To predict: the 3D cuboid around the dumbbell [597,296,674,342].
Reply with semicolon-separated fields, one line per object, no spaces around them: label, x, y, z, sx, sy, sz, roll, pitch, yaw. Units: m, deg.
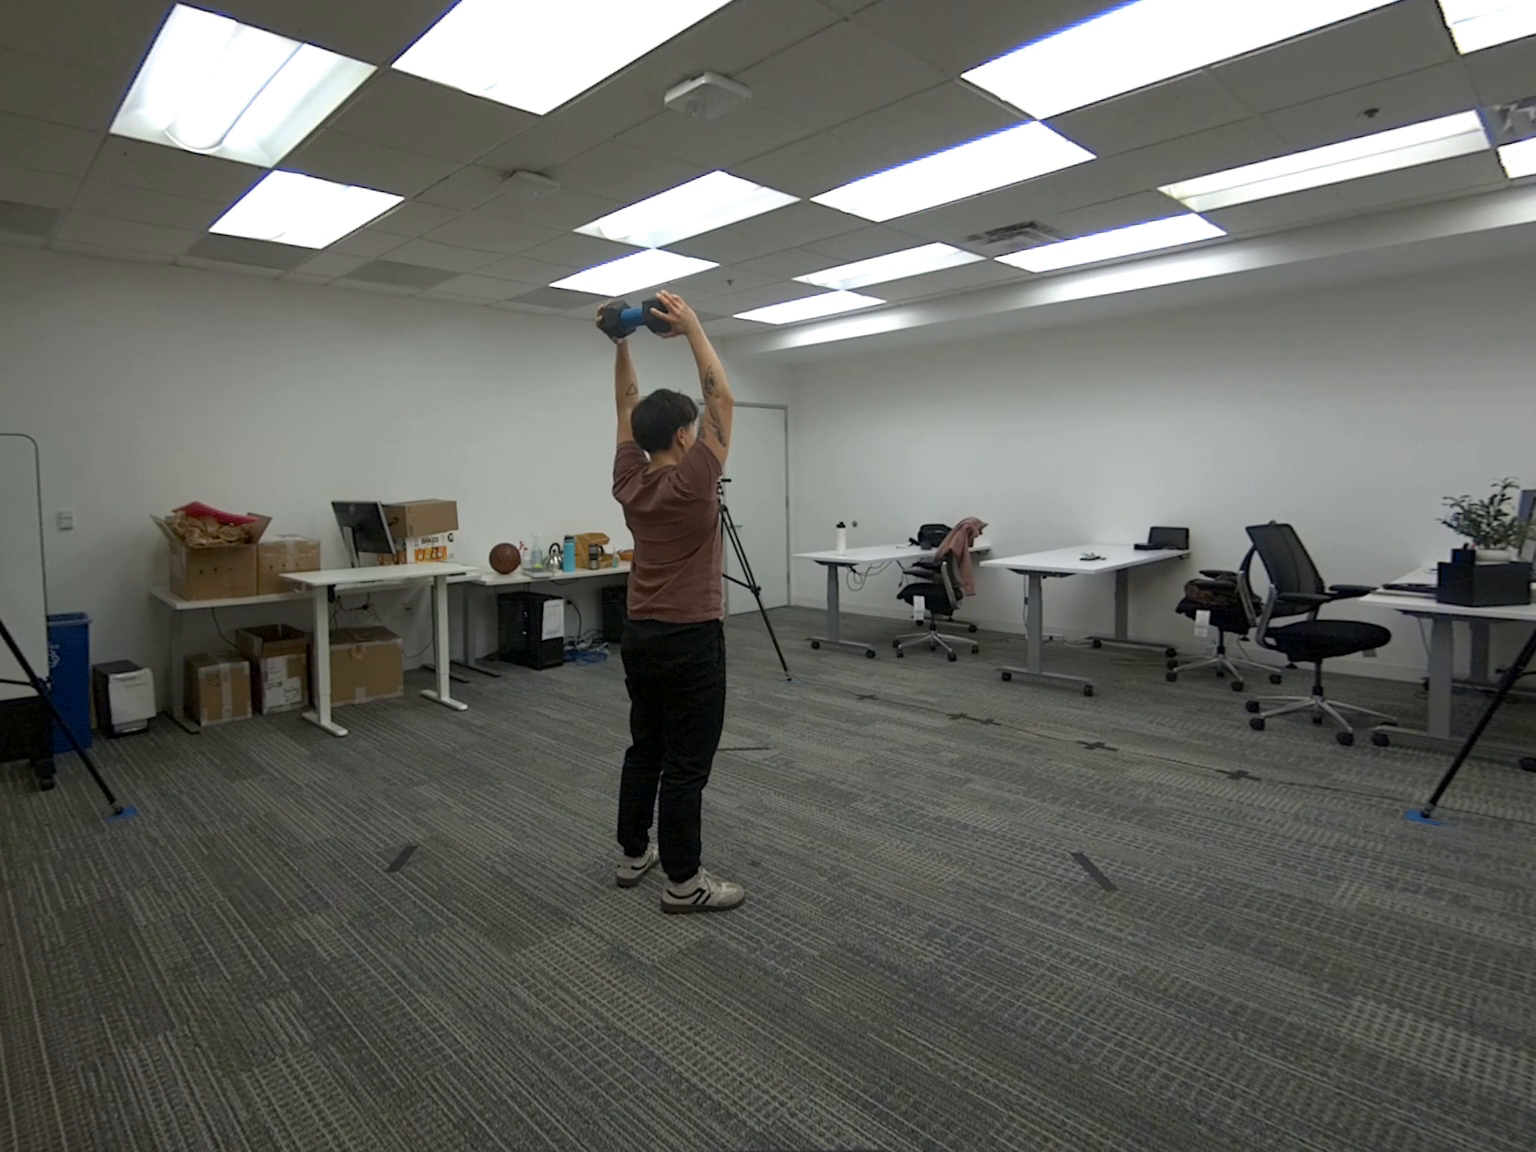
dumbbell;-0.410;-0.835;2.745;0.303;0.109;0.118;8;-23;42
